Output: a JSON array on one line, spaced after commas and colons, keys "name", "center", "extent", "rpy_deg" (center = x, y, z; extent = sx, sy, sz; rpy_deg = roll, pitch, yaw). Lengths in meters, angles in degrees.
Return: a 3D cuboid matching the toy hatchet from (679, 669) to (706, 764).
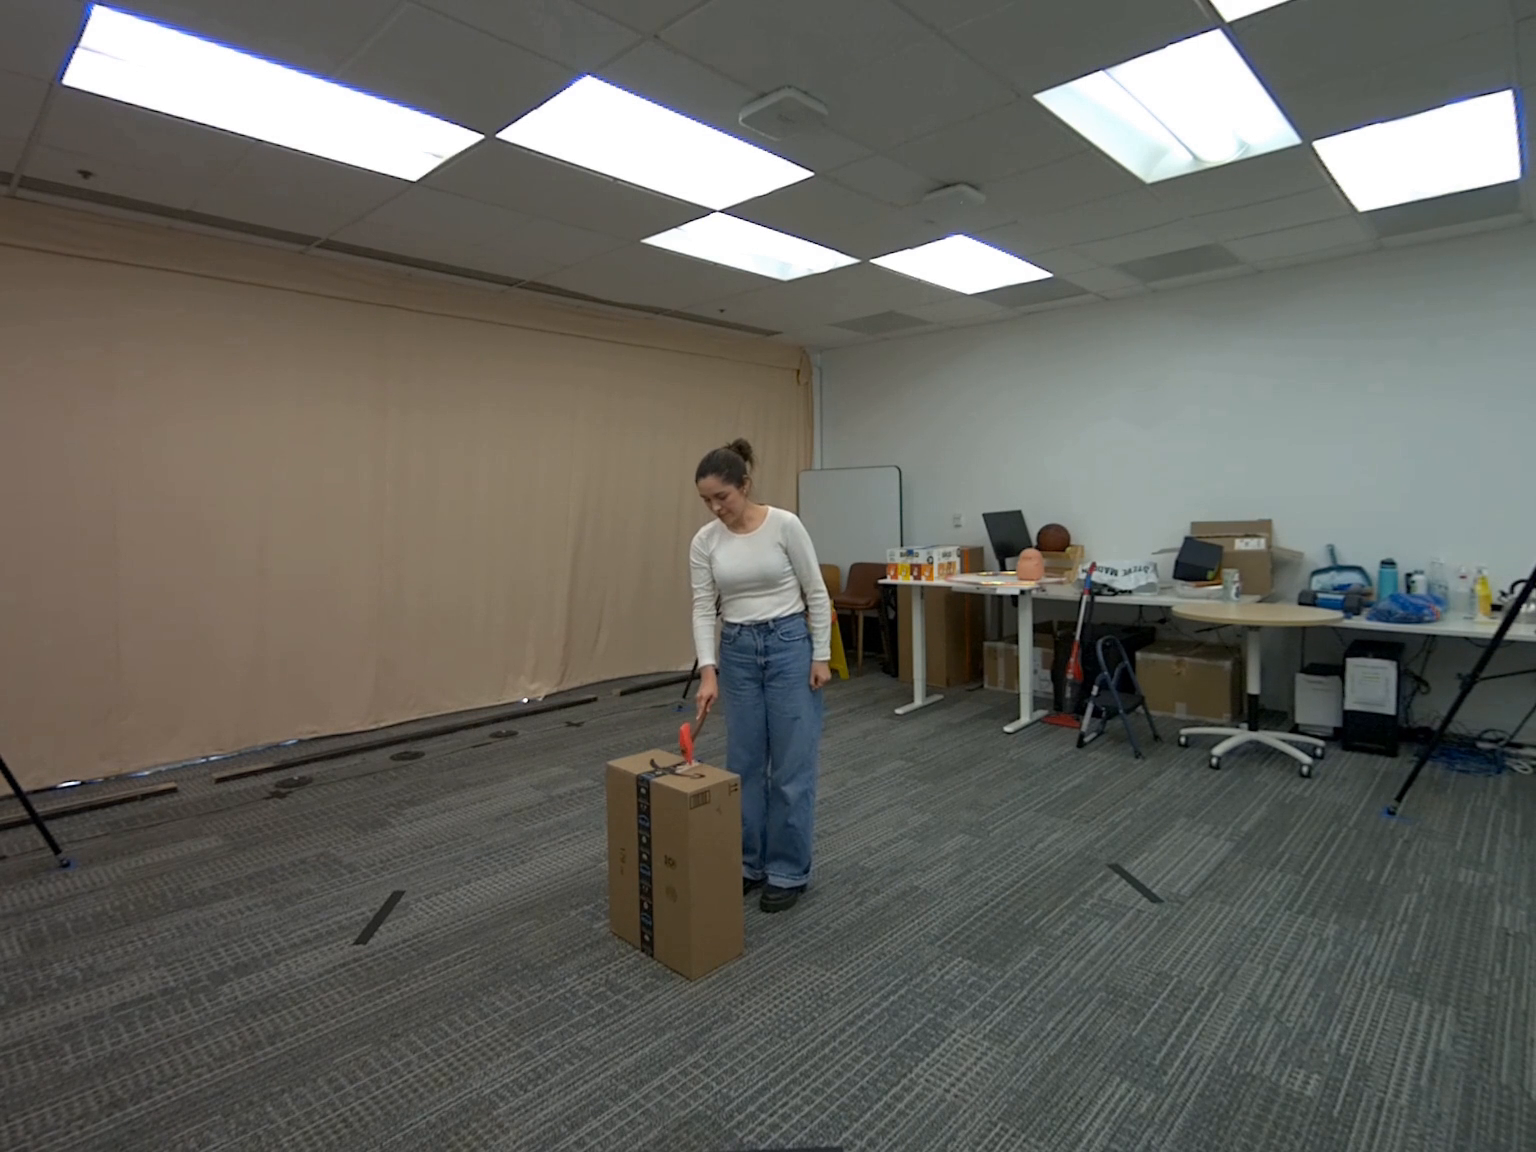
[{"name": "toy hatchet", "center": [-0.244, 0.473, 2.730], "extent": [0.030, 0.127, 0.271], "rpy_deg": [-5, 39, 22]}]
